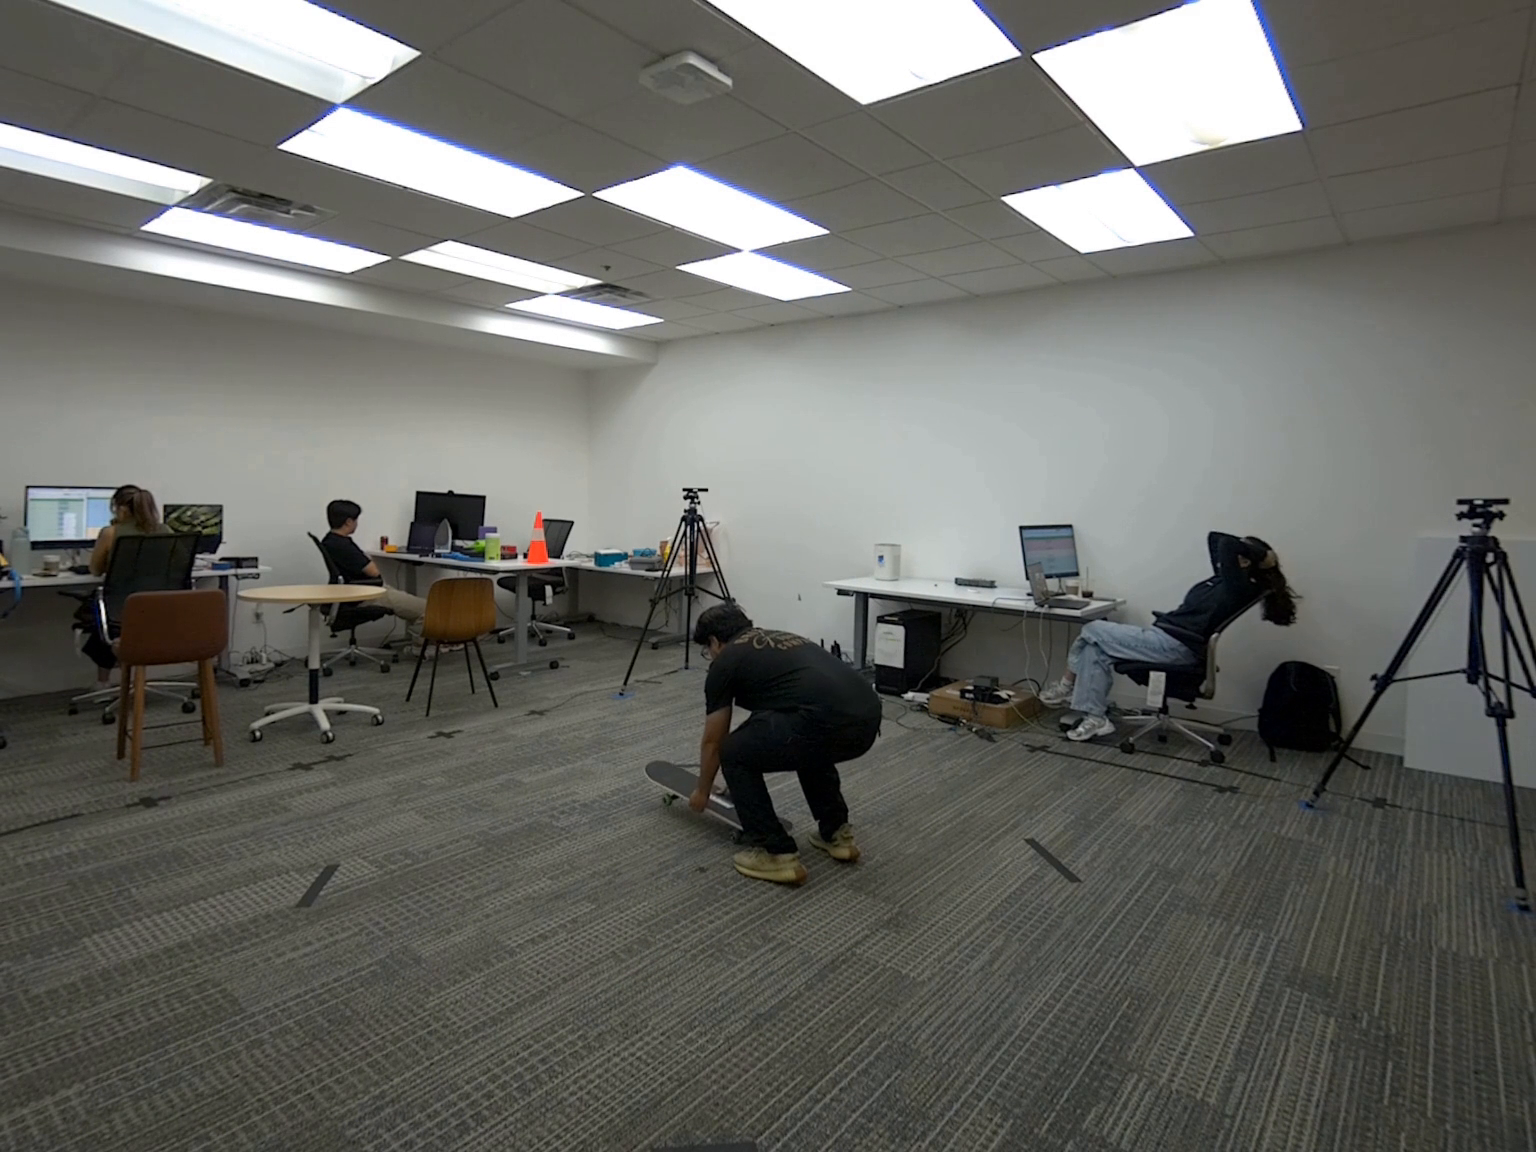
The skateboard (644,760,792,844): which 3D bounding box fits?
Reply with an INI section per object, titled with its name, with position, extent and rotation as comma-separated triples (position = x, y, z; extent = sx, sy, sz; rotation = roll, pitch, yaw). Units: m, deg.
[skateboard]
position = -0.233, 0.947, 3.532
extent = 0.815, 0.109, 0.188
rotation = 13, 12, 41
